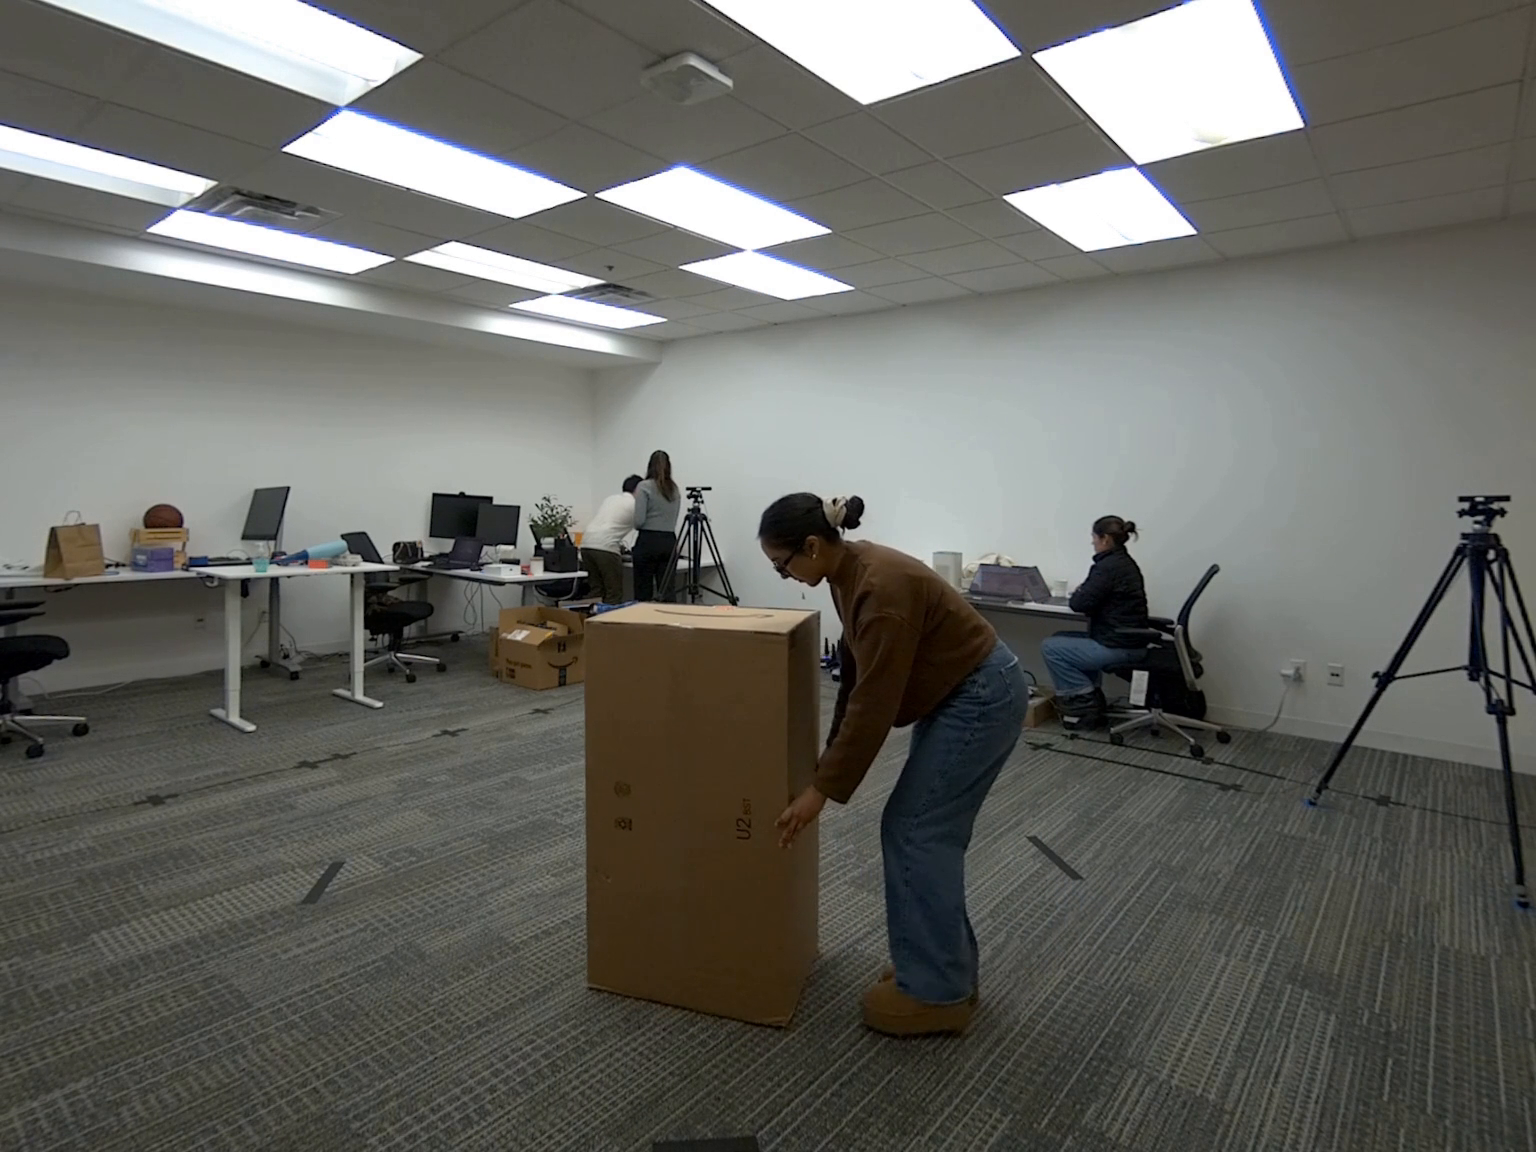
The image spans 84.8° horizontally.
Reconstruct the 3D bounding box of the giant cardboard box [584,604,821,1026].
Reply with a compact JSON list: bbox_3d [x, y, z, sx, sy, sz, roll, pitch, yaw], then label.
[{"bbox_3d":[-0.181,0.622,2.443,0.588,1.023,0.419,1,3,17],"label":"giant cardboard box"}]
